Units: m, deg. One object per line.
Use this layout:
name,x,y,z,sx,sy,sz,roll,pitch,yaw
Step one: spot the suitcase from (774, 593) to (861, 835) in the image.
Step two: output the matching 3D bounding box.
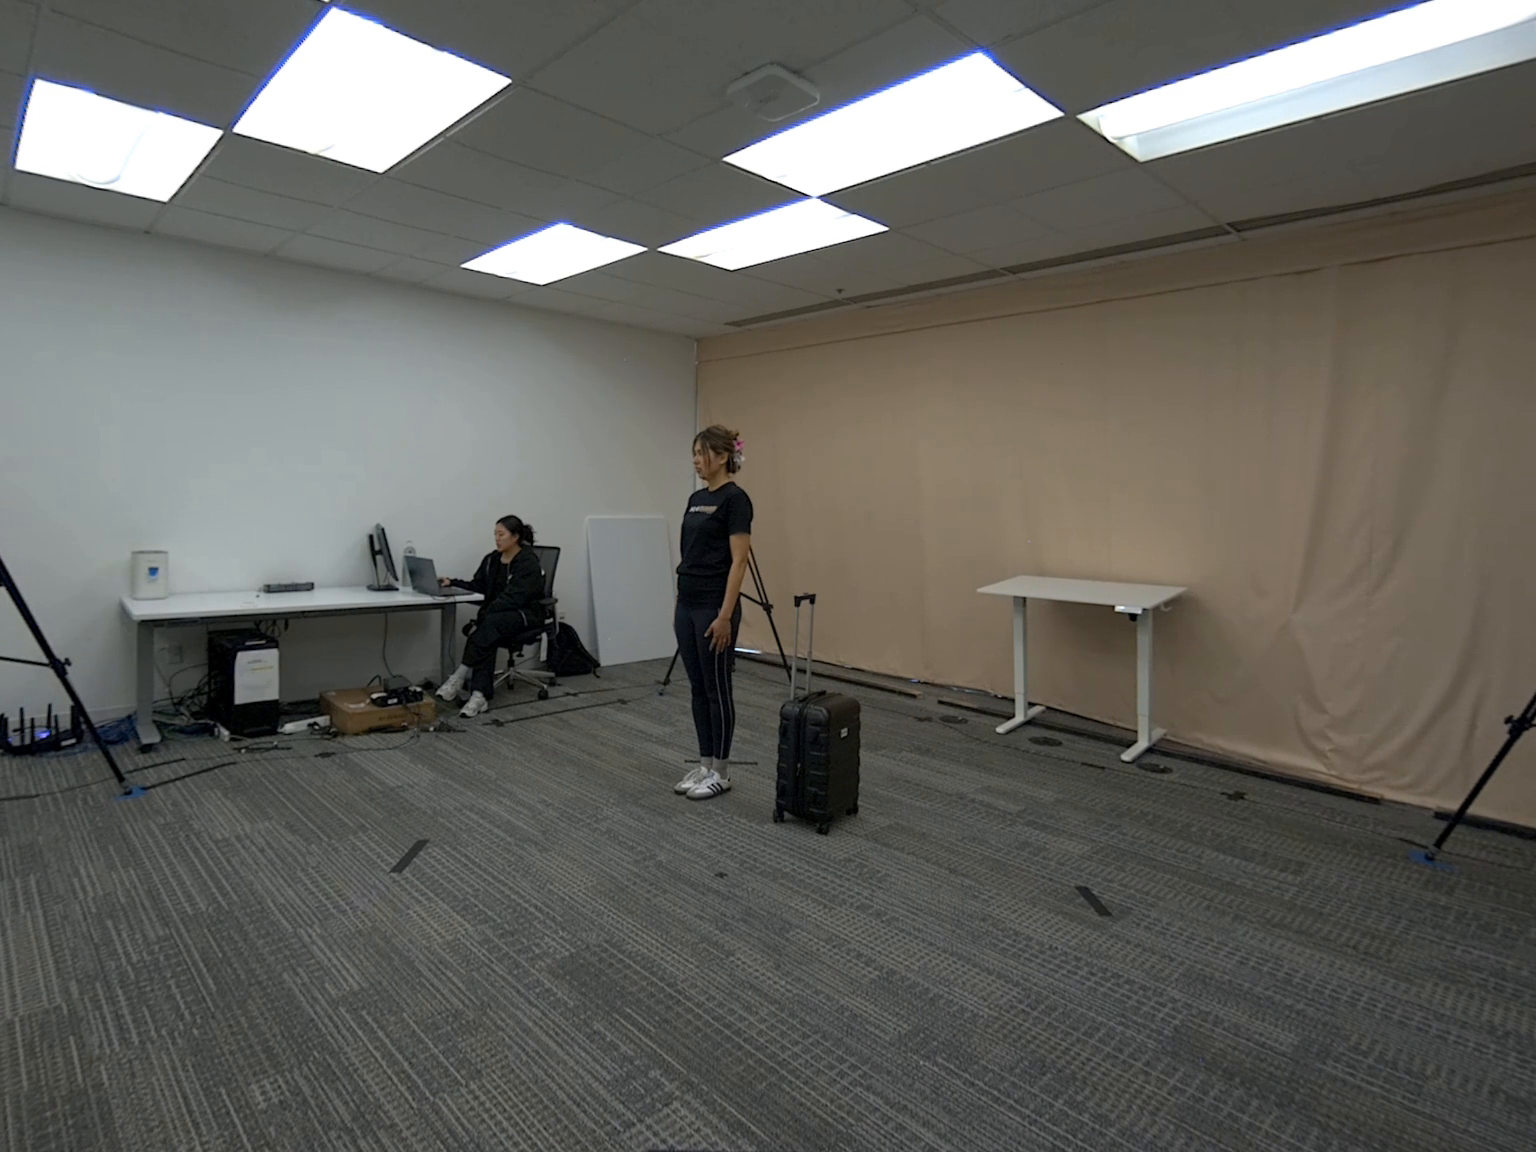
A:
suitcase,0.228,0.585,3.657,0.263,0.976,0.376,6,4,33
